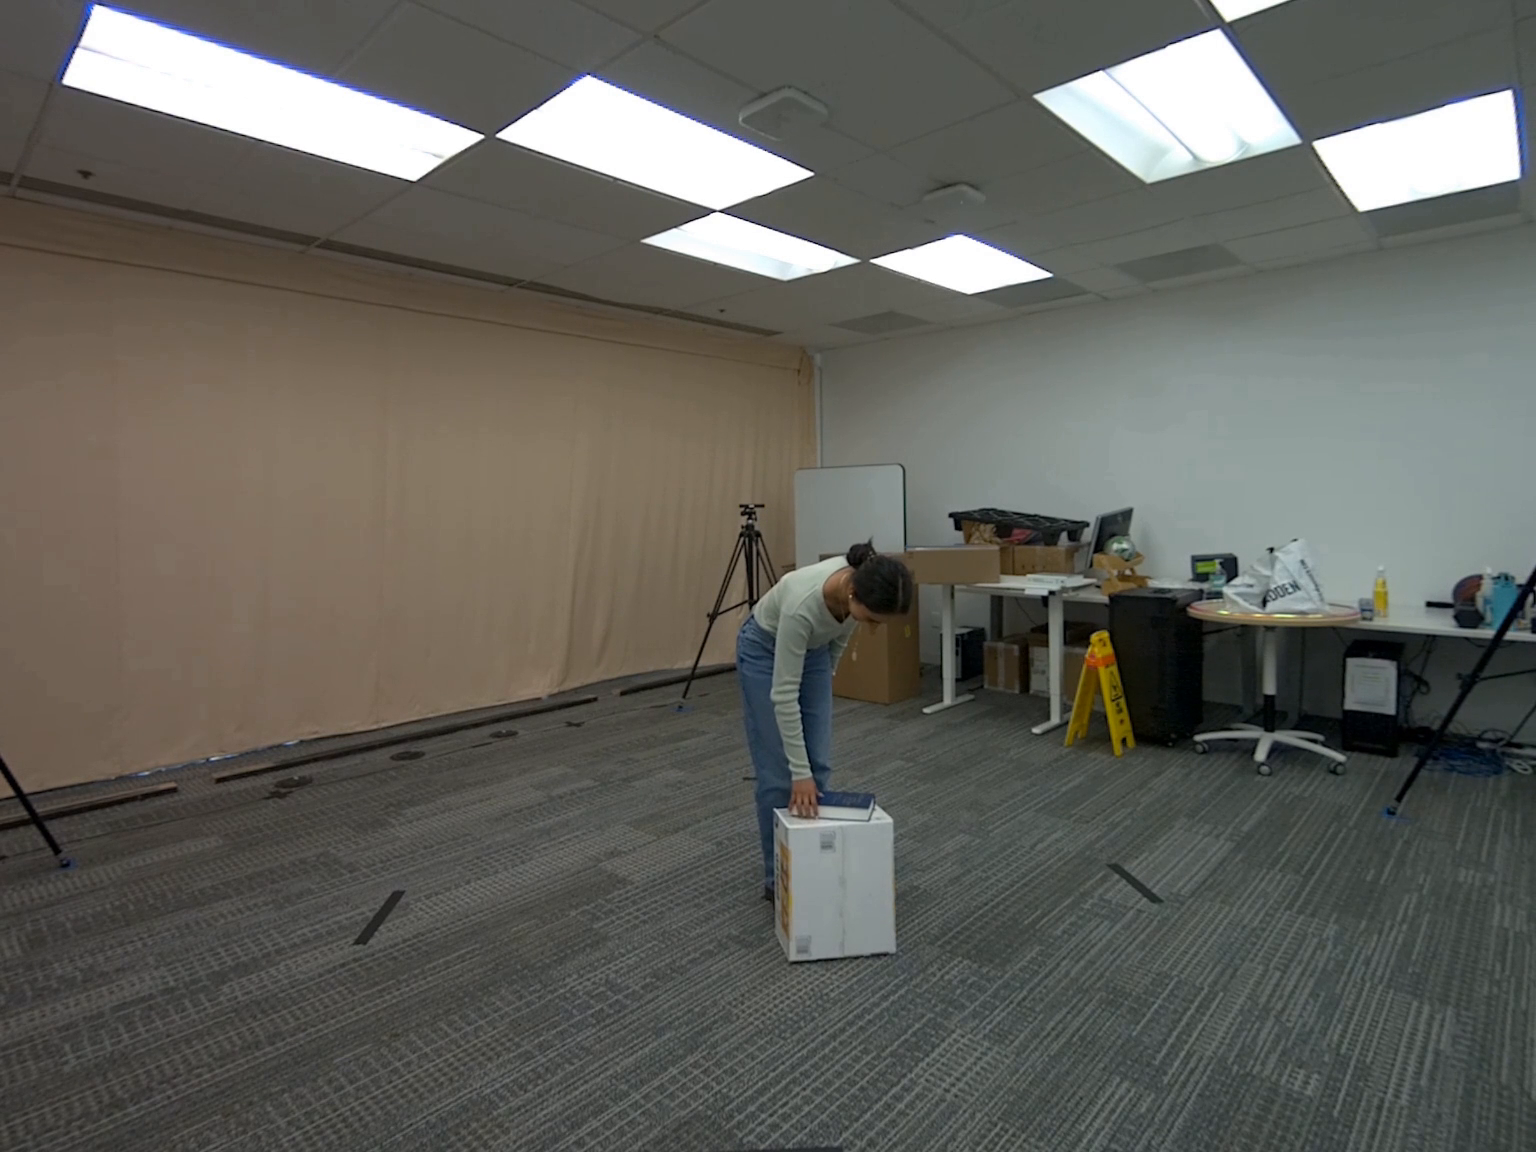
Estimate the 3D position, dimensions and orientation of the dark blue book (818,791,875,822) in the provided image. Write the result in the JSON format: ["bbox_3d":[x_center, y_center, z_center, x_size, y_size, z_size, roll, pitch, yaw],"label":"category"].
[{"bbox_3d":[0.223,0.735,2.706,0.249,0.045,0.161,-3,2,15],"label":"dark blue book"}]
